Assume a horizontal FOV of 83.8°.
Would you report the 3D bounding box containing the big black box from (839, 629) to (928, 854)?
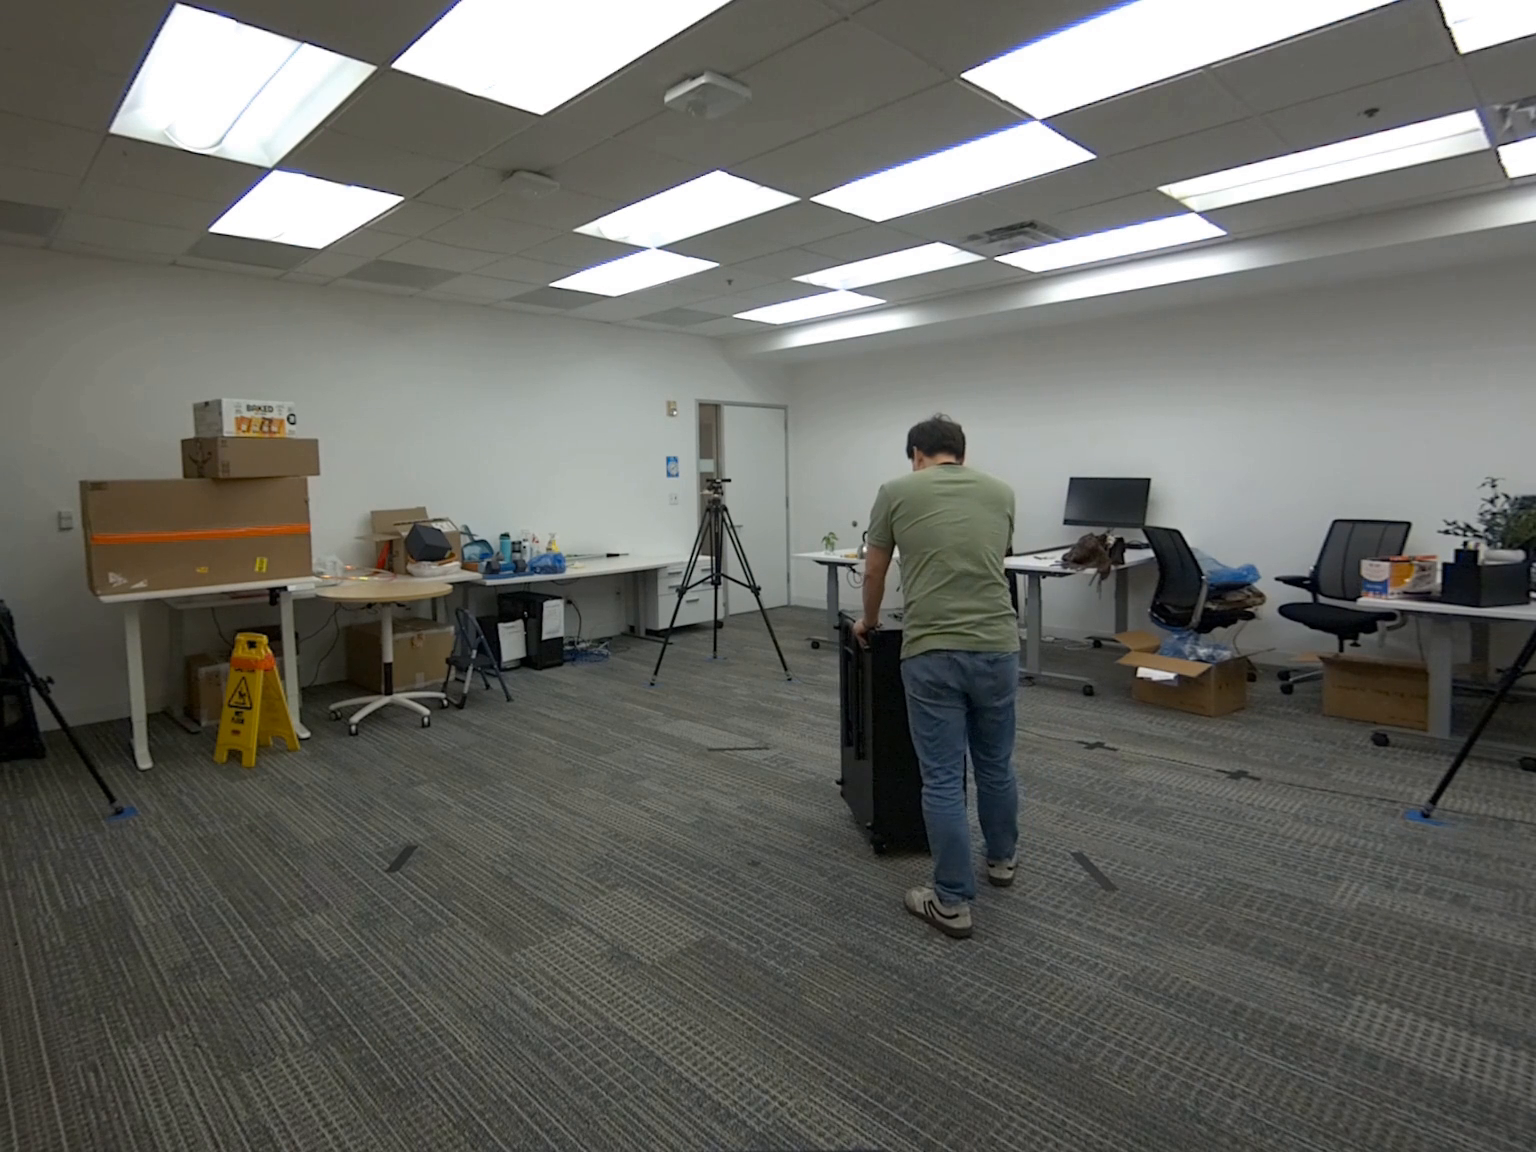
[{"bbox_3d":[0.502,0.591,3.317,0.394,0.858,0.527,-3,4,-7],"label":"big black box"}]
